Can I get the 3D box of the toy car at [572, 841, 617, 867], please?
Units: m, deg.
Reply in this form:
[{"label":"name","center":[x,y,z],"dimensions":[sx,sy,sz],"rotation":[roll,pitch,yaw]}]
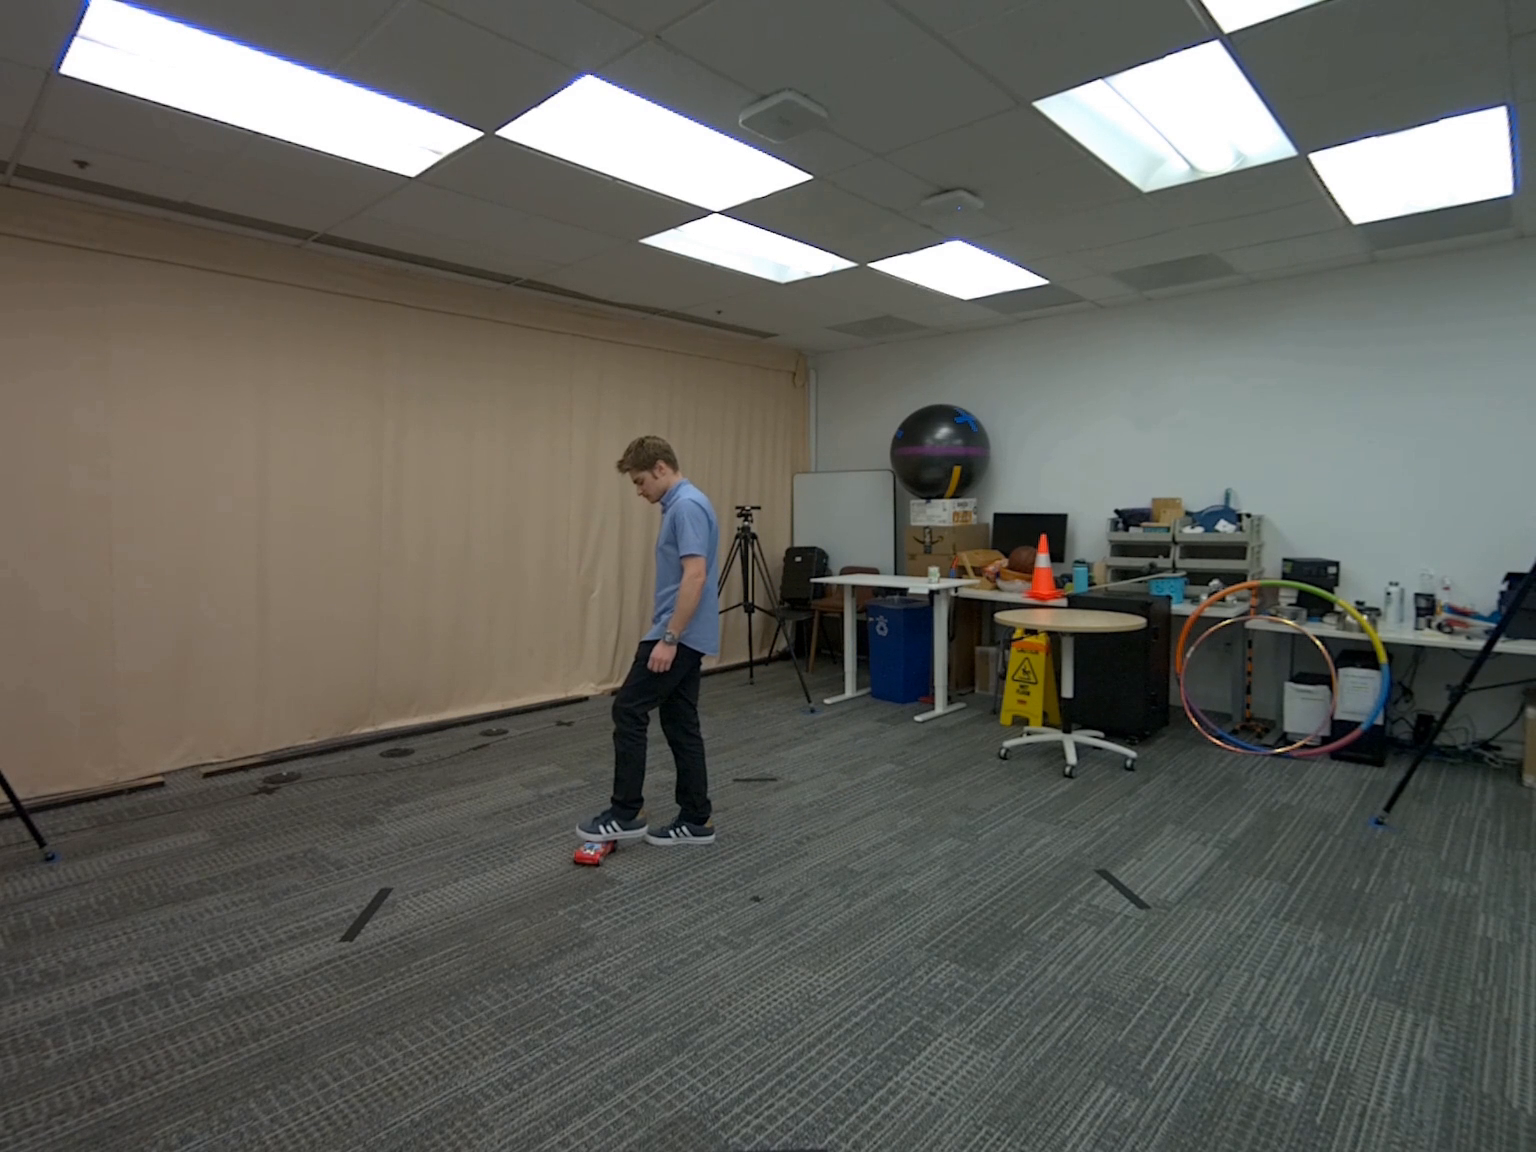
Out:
[{"label":"toy car","center":[-0.687,1.091,3.367],"dimensions":[0.132,0.082,0.253],"rotation":[-1,15,12]}]
